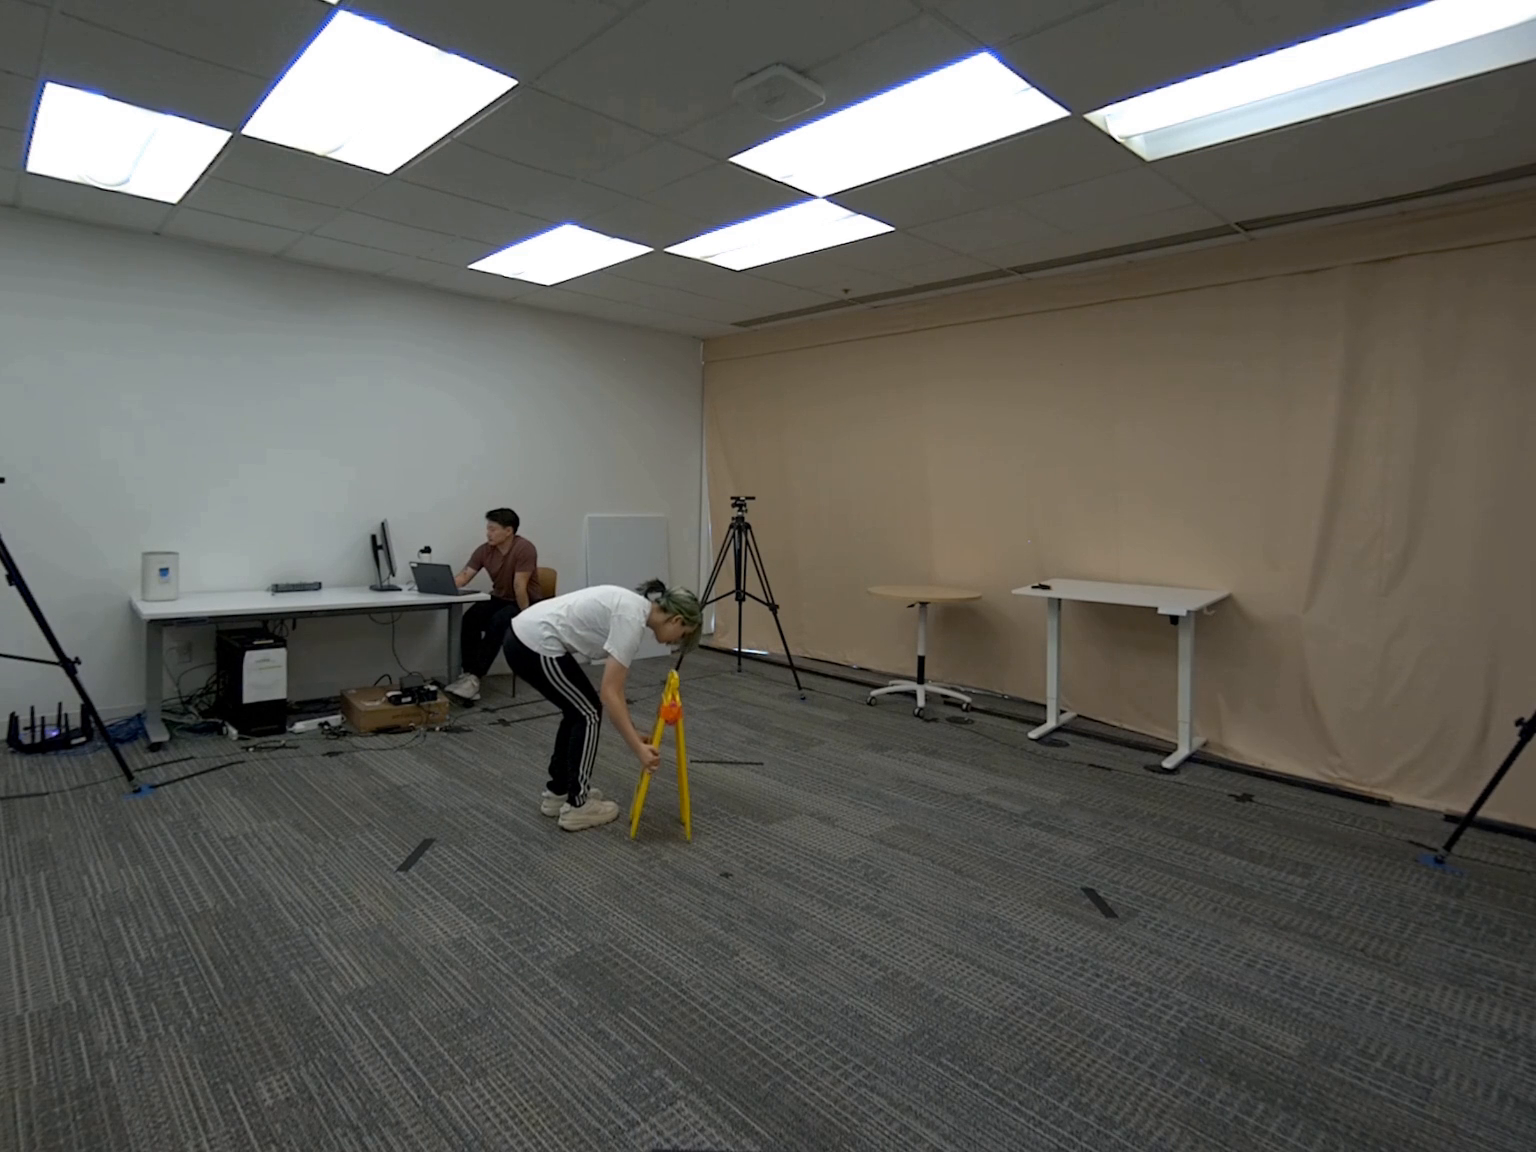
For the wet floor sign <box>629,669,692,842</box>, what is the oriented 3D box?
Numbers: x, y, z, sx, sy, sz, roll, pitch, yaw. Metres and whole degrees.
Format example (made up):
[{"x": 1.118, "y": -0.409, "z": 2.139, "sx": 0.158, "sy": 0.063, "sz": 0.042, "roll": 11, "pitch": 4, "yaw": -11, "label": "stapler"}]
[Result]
[{"x": -0.431, "y": 0.721, "z": 3.500, "sx": 0.288, "sy": 0.645, "sz": 0.285, "roll": 5, "pitch": 3, "yaw": -9, "label": "wet floor sign"}]
